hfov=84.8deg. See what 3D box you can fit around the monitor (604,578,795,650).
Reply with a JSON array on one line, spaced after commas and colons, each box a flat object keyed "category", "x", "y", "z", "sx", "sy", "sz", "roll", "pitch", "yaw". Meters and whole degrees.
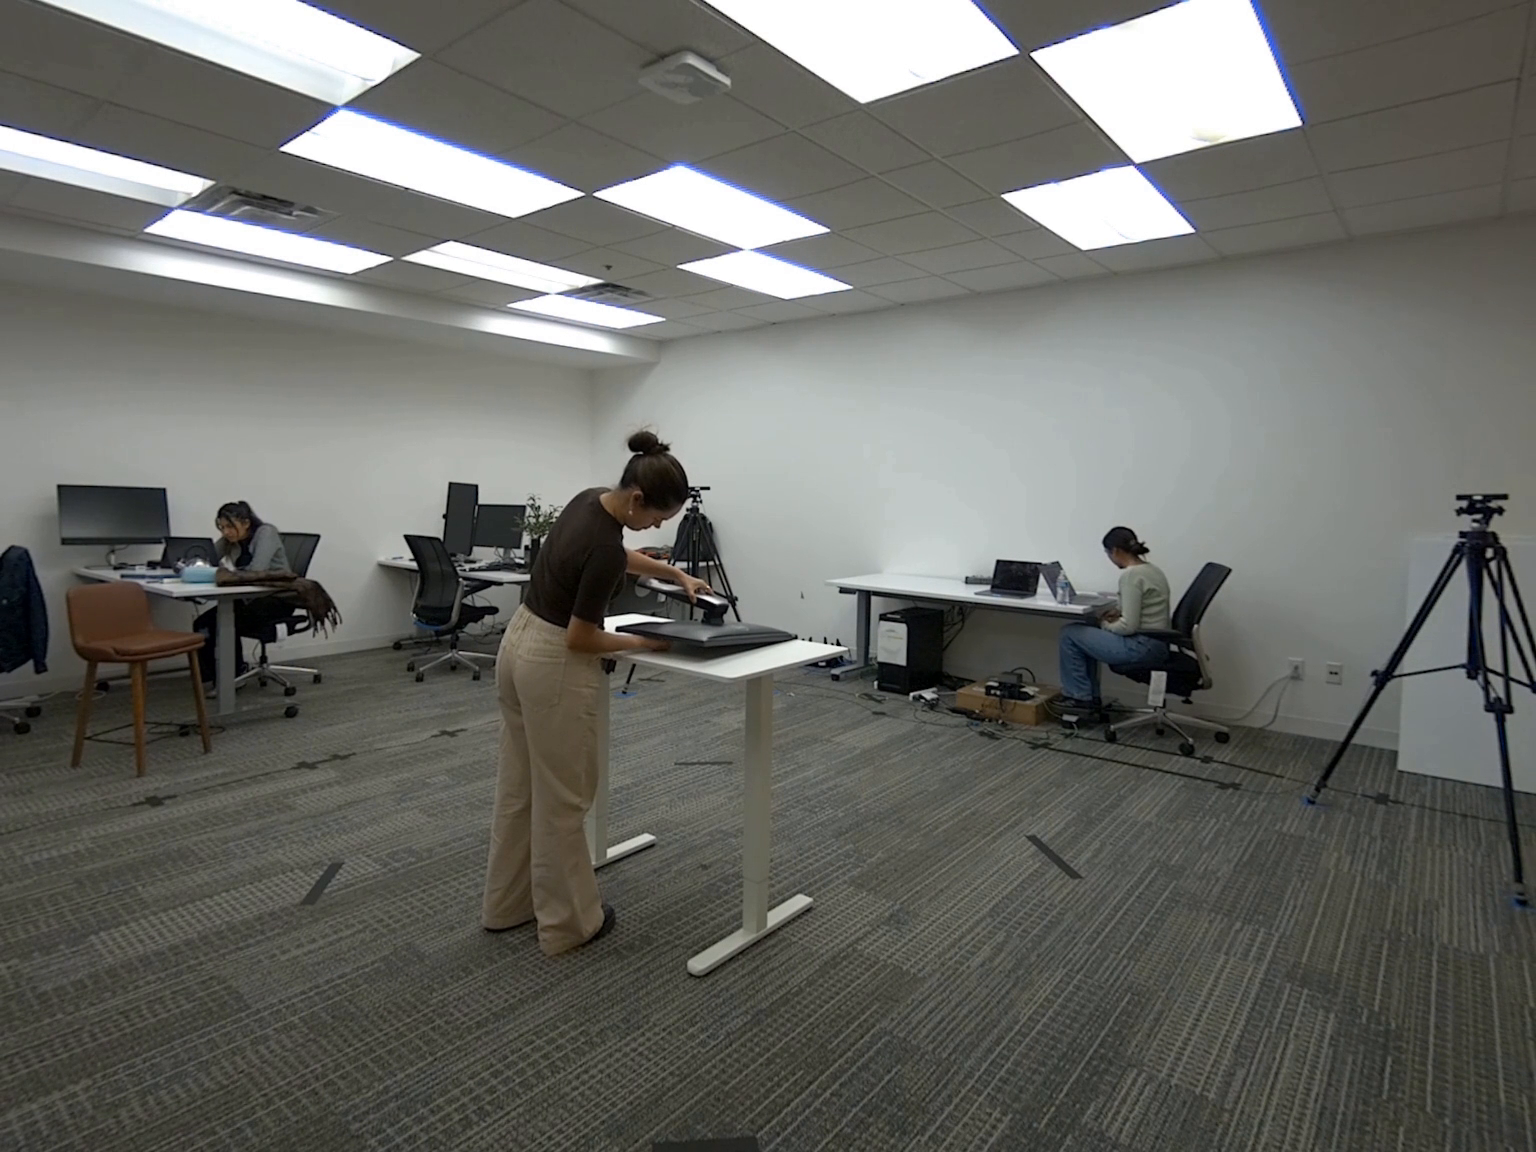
[{"category": "monitor", "x": -0.263, "y": 0.130, "z": 2.822, "sx": 0.543, "sy": 0.186, "sz": 0.522, "roll": 24, "pitch": 15, "yaw": 34}]
